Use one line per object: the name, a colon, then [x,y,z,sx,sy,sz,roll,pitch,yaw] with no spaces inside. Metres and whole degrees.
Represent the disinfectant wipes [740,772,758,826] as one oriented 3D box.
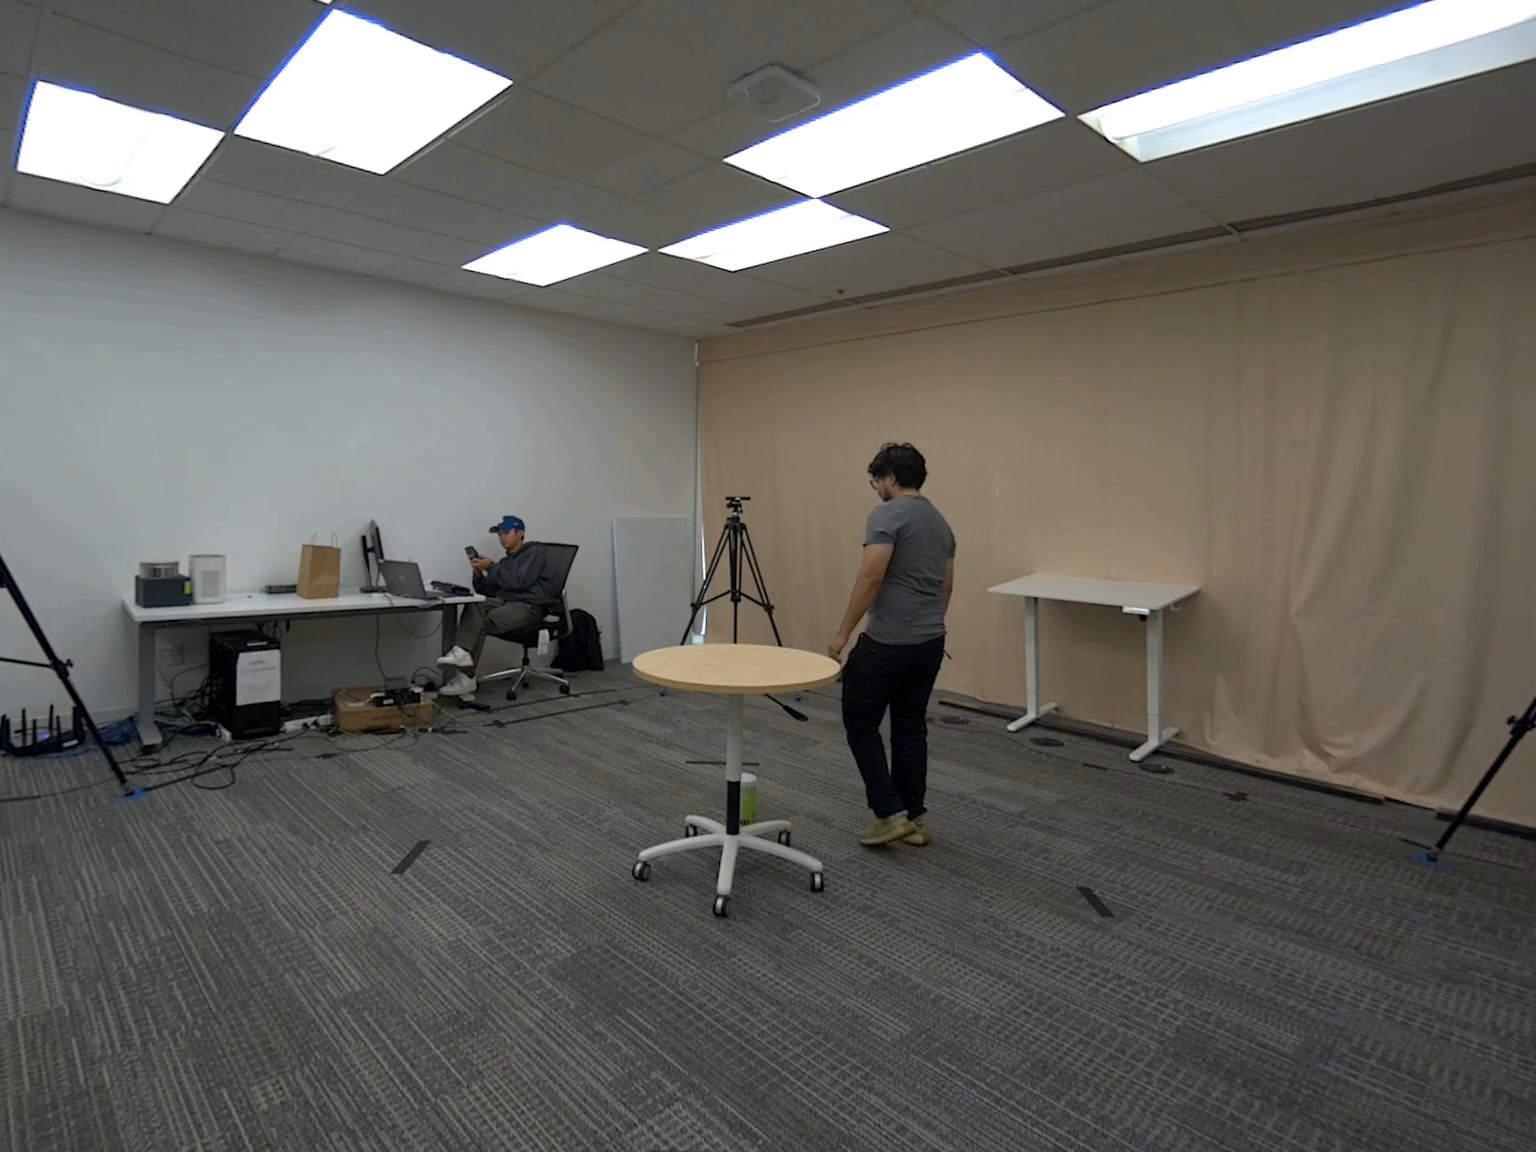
disinfectant wipes: [-0.102,0.951,3.568,0.118,0.217,0.118,-1,1,-1]
